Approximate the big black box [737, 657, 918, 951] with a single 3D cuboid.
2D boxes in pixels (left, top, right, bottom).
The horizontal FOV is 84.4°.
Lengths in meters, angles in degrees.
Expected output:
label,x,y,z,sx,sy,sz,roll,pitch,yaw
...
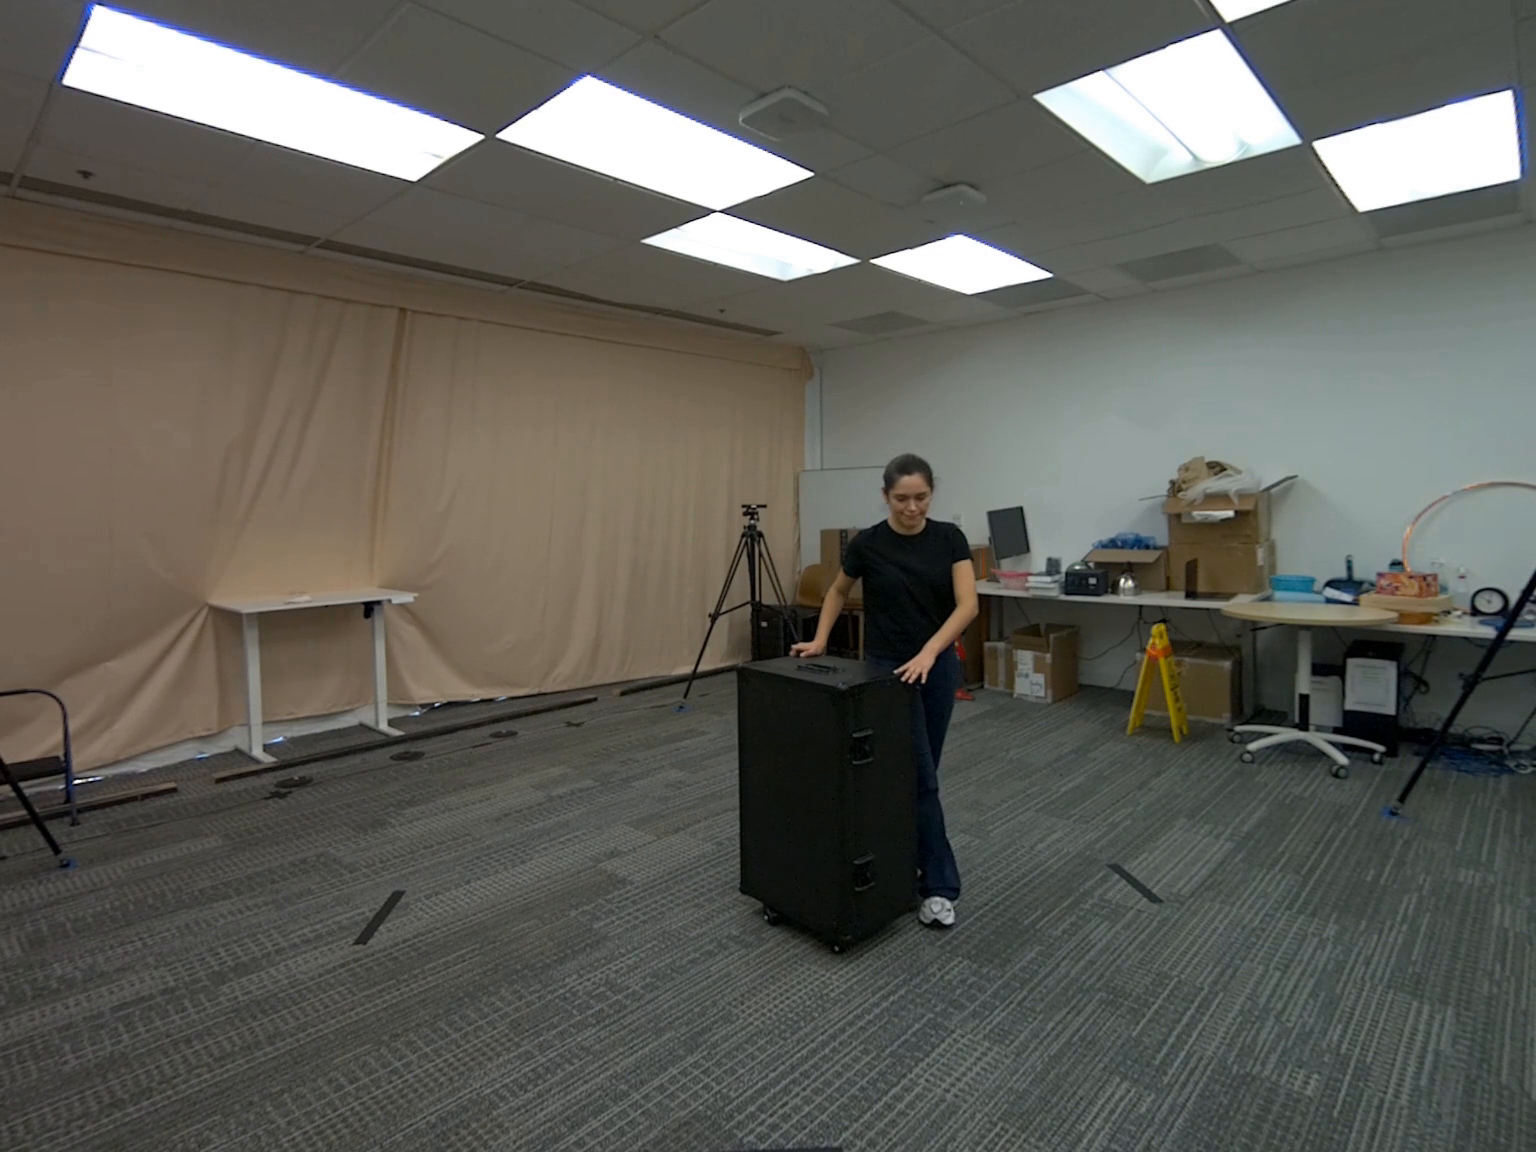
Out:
label,x,y,z,sx,sy,sz,roll,pitch,yaw
big black box,0.209,0.725,2.797,0.384,0.860,0.538,-3,4,-42
